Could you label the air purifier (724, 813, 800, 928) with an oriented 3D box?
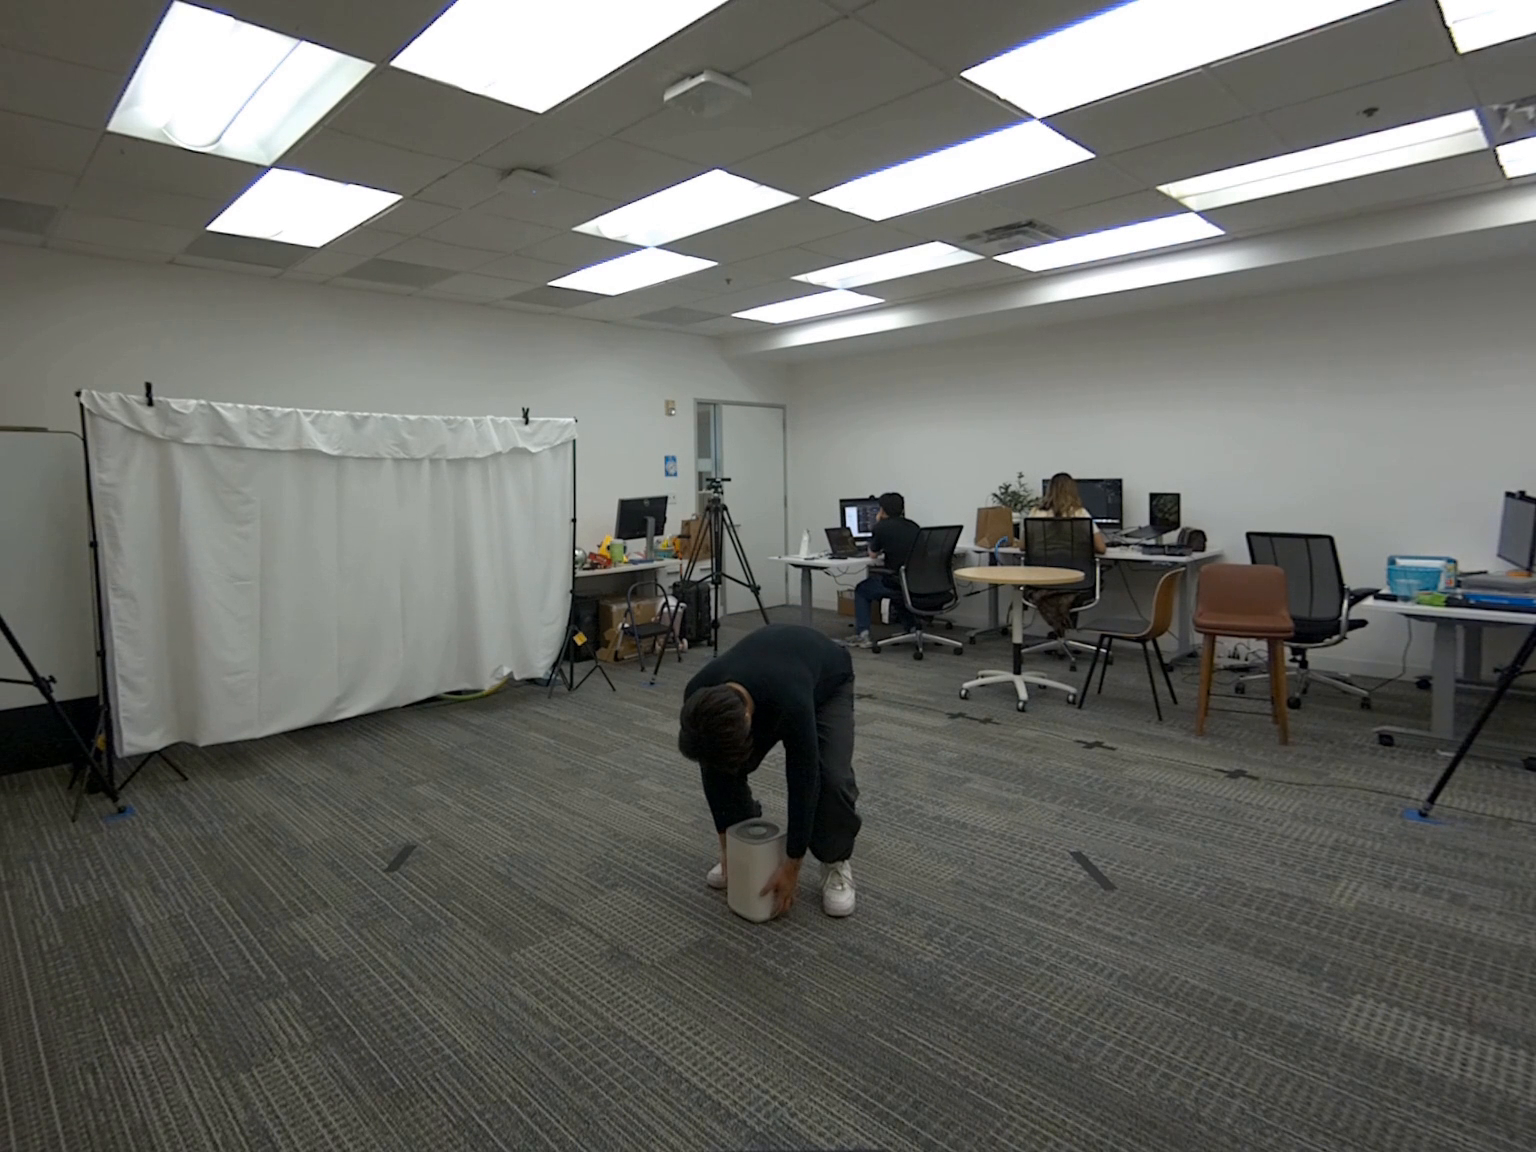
[{"bbox_3d":[-0.025,0.943,2.767,0.166,0.264,0.177,-5,5,-41],"label":"air purifier"}]
